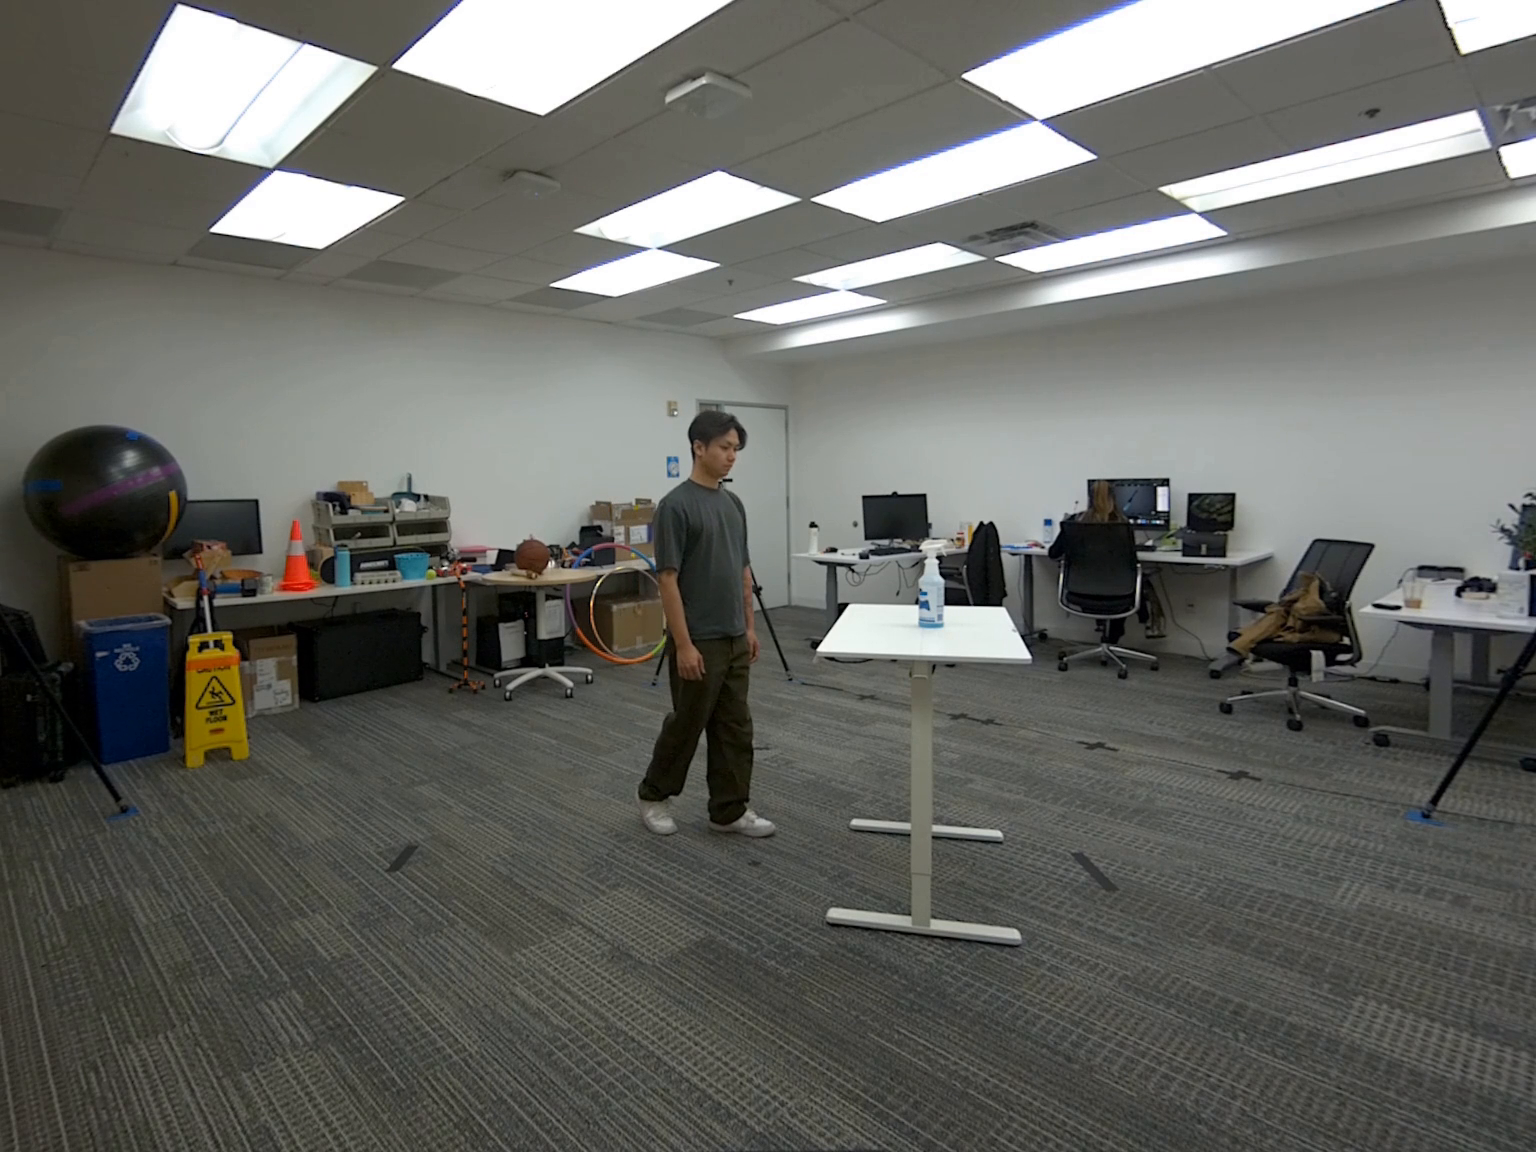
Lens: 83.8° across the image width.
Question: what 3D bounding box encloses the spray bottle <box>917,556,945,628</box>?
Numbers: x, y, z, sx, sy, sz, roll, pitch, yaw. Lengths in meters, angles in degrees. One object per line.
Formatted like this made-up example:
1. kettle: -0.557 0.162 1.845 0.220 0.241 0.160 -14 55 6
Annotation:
1. spray bottle: 0.560 0.025 2.924 0.092 0.296 0.085 0 3 27
